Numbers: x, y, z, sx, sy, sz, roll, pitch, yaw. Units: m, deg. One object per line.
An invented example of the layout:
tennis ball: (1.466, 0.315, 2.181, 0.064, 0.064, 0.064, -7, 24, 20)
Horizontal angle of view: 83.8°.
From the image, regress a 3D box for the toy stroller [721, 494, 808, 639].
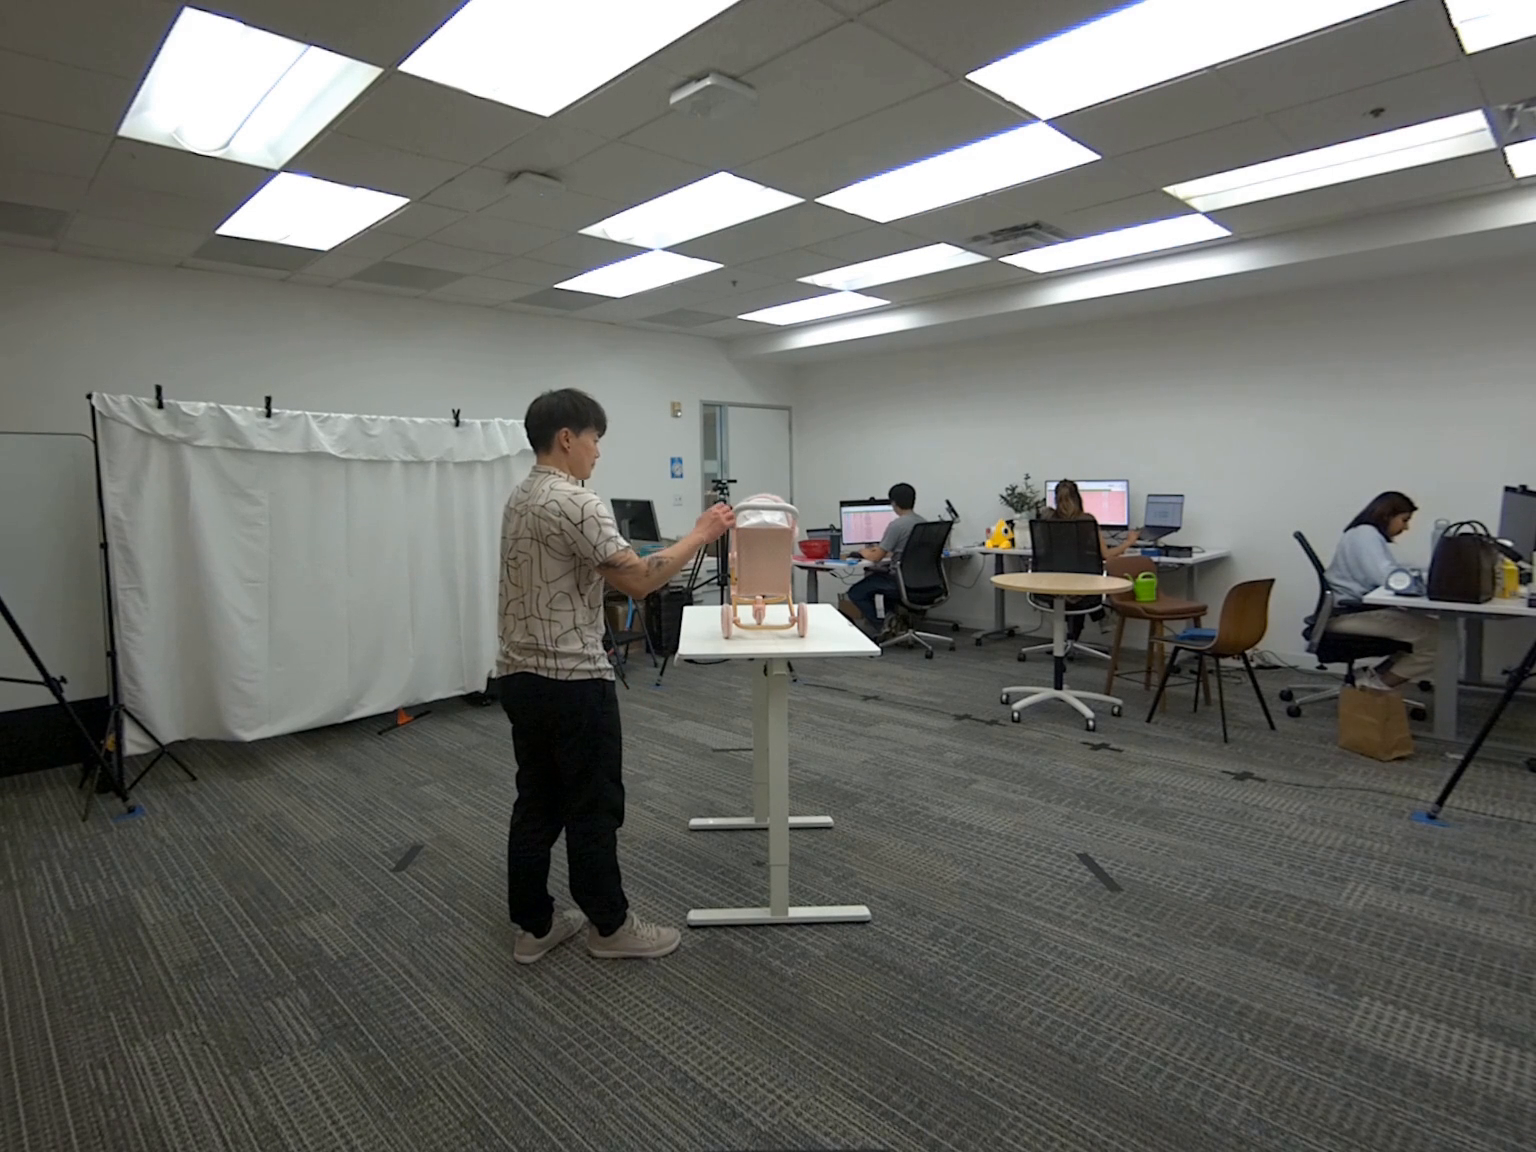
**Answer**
toy stroller: (-0.016, -0.031, 2.837, 0.282, 0.526, 0.346, 0, 19, 1)
